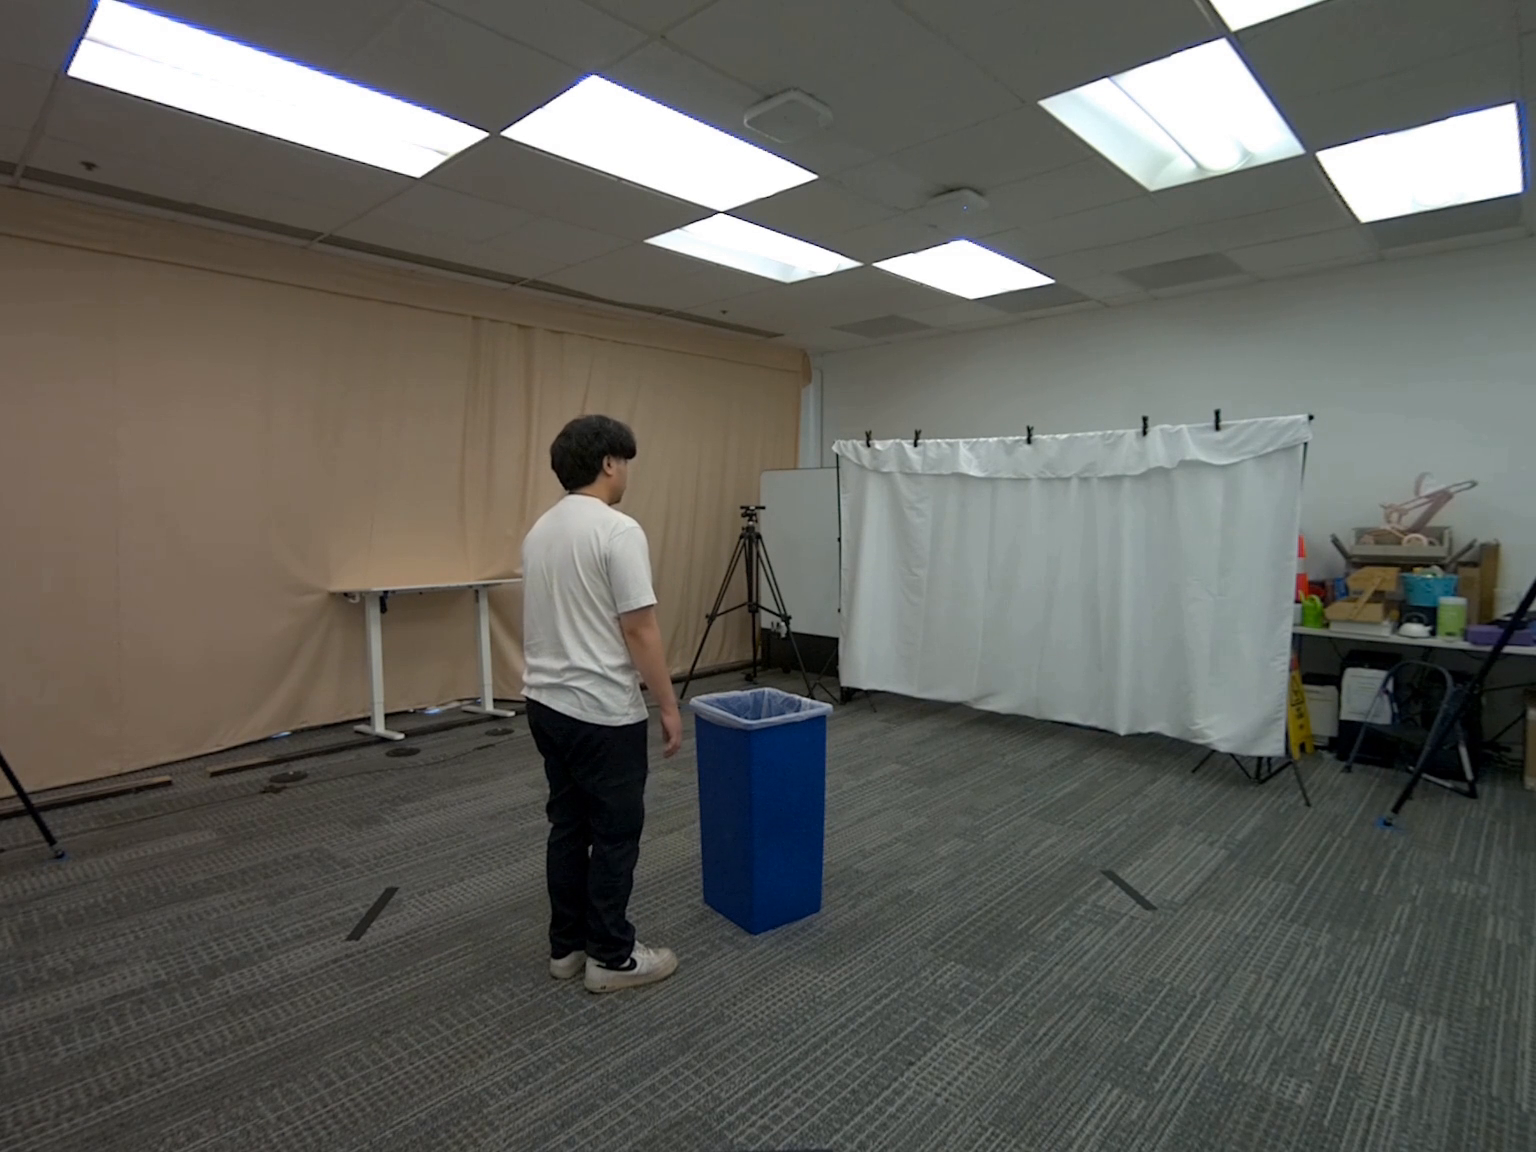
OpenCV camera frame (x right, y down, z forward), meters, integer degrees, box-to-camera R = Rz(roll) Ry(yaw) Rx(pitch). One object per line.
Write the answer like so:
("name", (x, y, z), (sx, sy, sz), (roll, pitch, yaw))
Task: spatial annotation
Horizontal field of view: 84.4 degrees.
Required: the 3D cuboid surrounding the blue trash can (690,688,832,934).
("blue trash can", (-0.026, 0.792, 2.906), (0.363, 0.712, 0.390), (-2, 4, -37))
